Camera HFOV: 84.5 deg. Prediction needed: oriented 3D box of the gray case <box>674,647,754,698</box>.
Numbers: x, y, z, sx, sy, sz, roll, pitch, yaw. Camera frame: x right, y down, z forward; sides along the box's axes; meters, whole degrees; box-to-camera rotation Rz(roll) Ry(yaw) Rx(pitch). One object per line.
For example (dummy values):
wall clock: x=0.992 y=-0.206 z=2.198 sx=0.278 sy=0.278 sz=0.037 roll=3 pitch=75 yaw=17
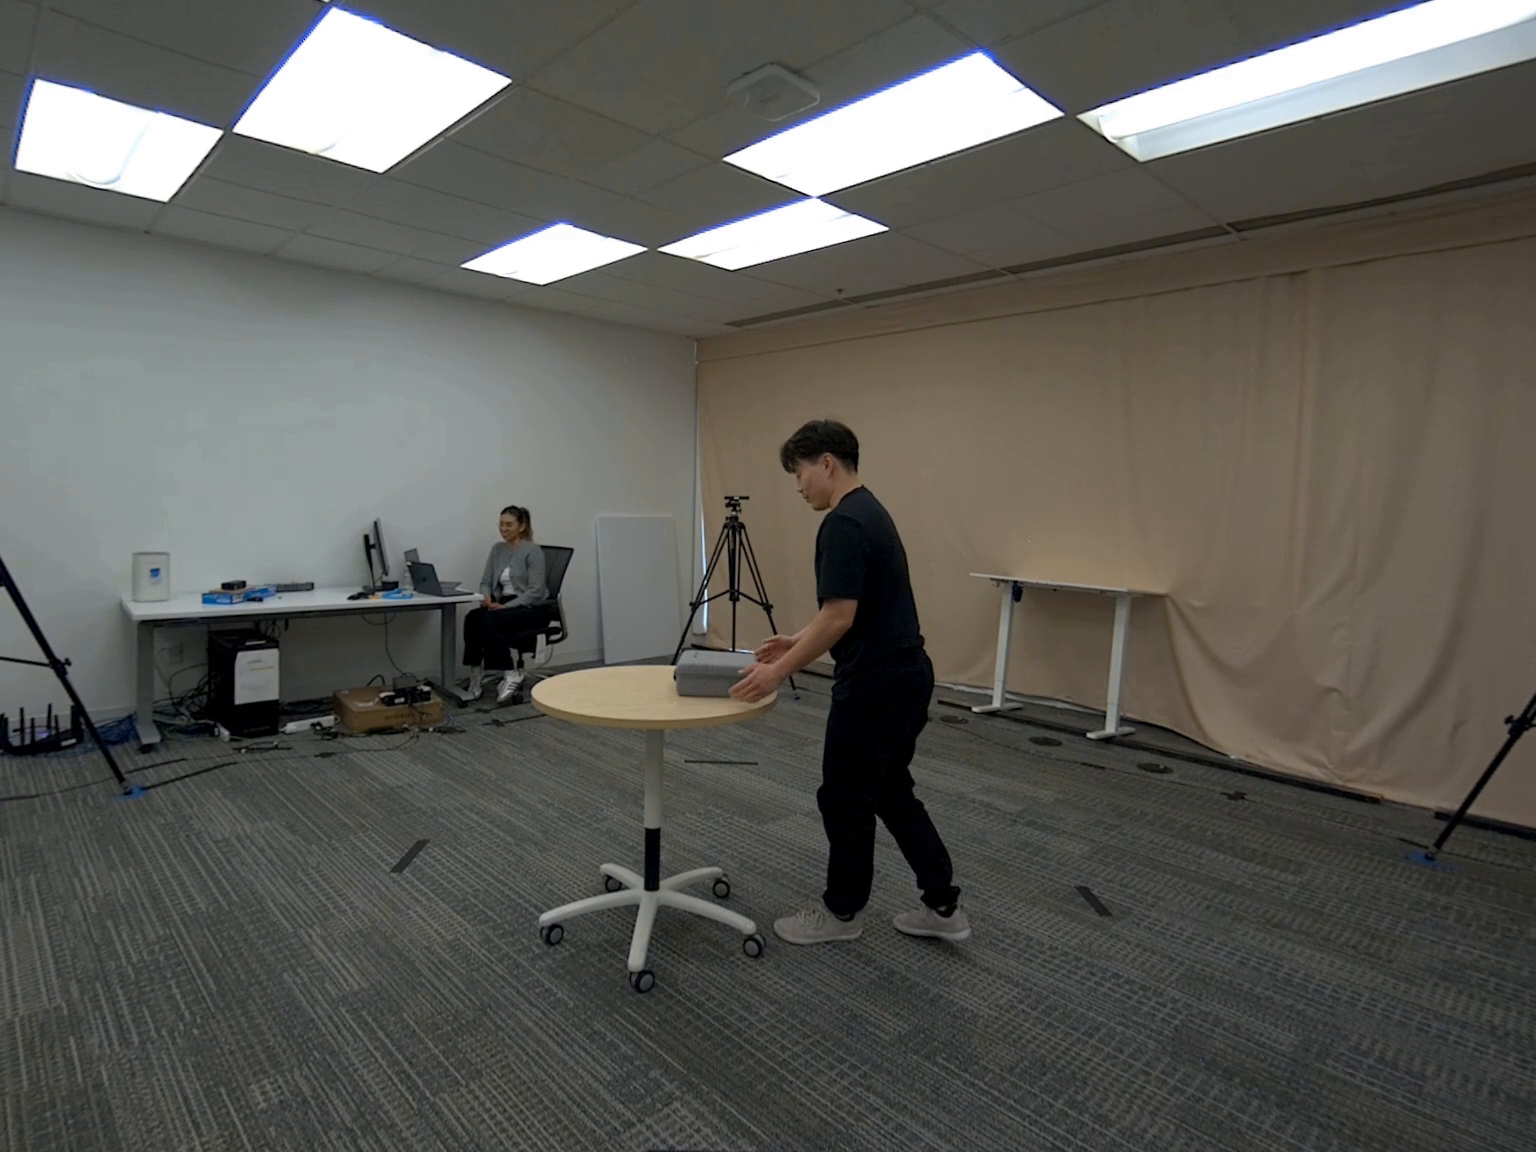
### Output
gray case: x=-0.172 y=0.299 z=2.683 sx=0.261 sy=0.104 sz=0.258 roll=2 pitch=5 yaw=0
